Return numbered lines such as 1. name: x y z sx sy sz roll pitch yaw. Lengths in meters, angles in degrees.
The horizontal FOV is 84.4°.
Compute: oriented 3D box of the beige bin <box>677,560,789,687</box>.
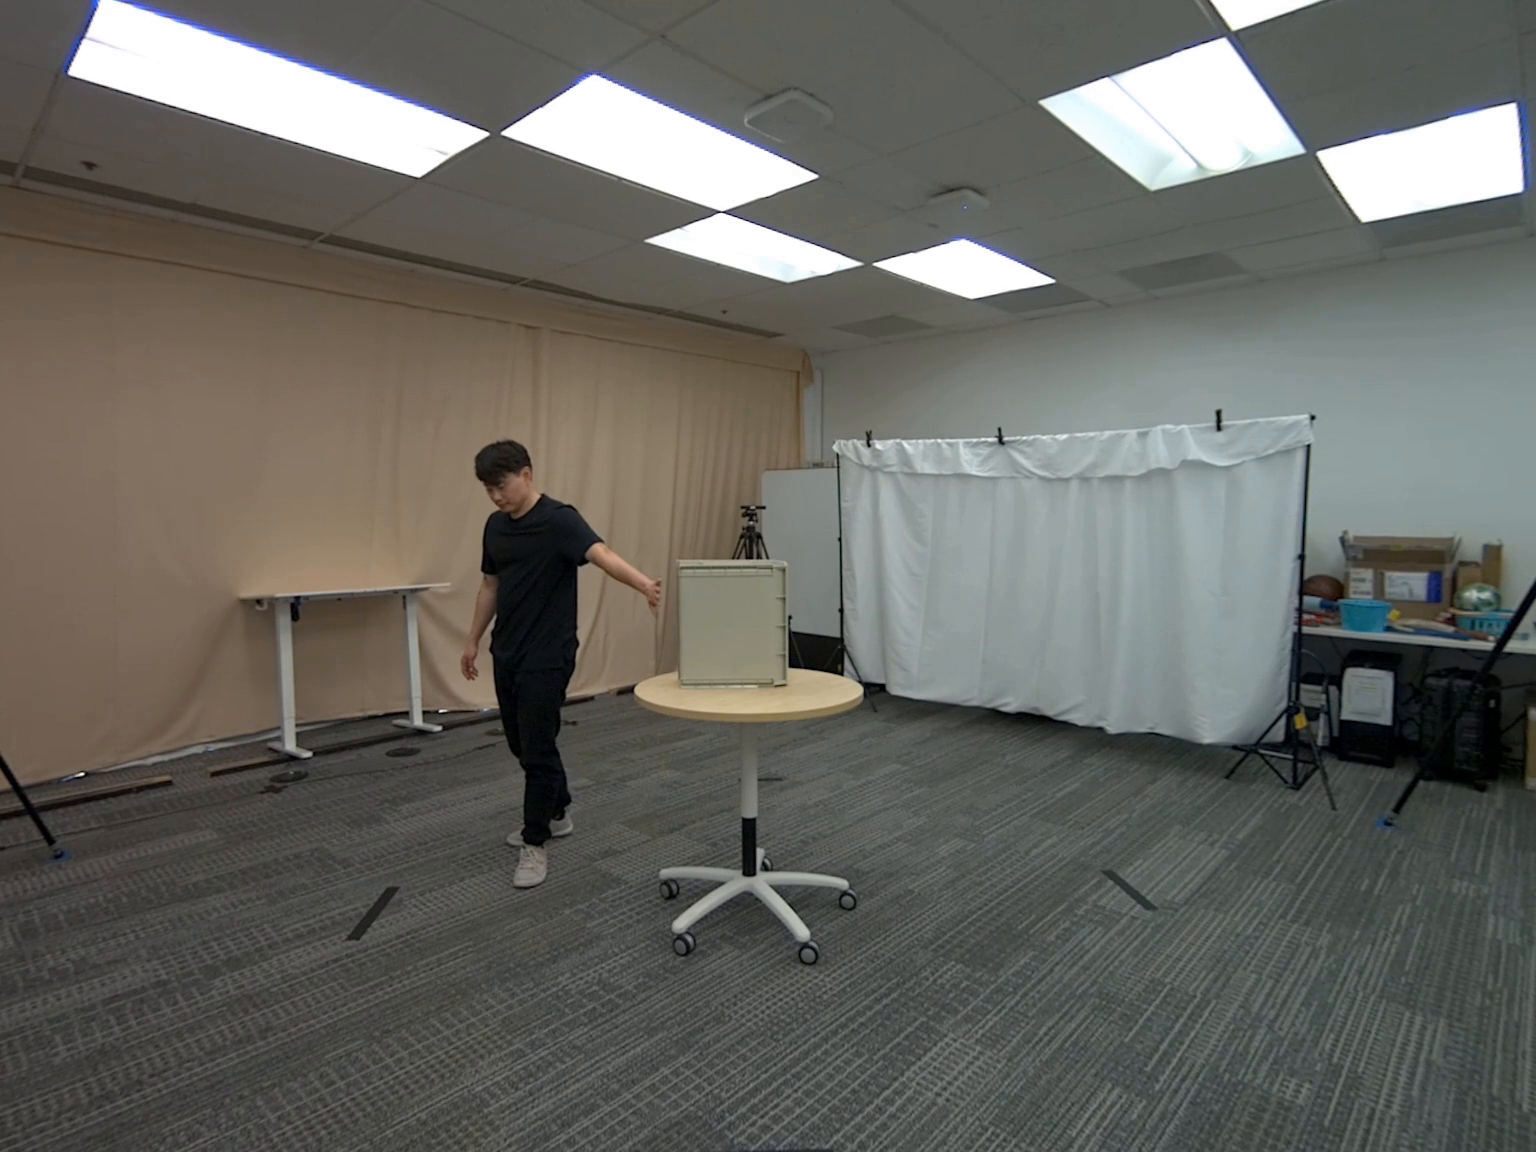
1. beige bin: -0.119 0.159 2.896 0.378 0.421 0.189 0 4 0
